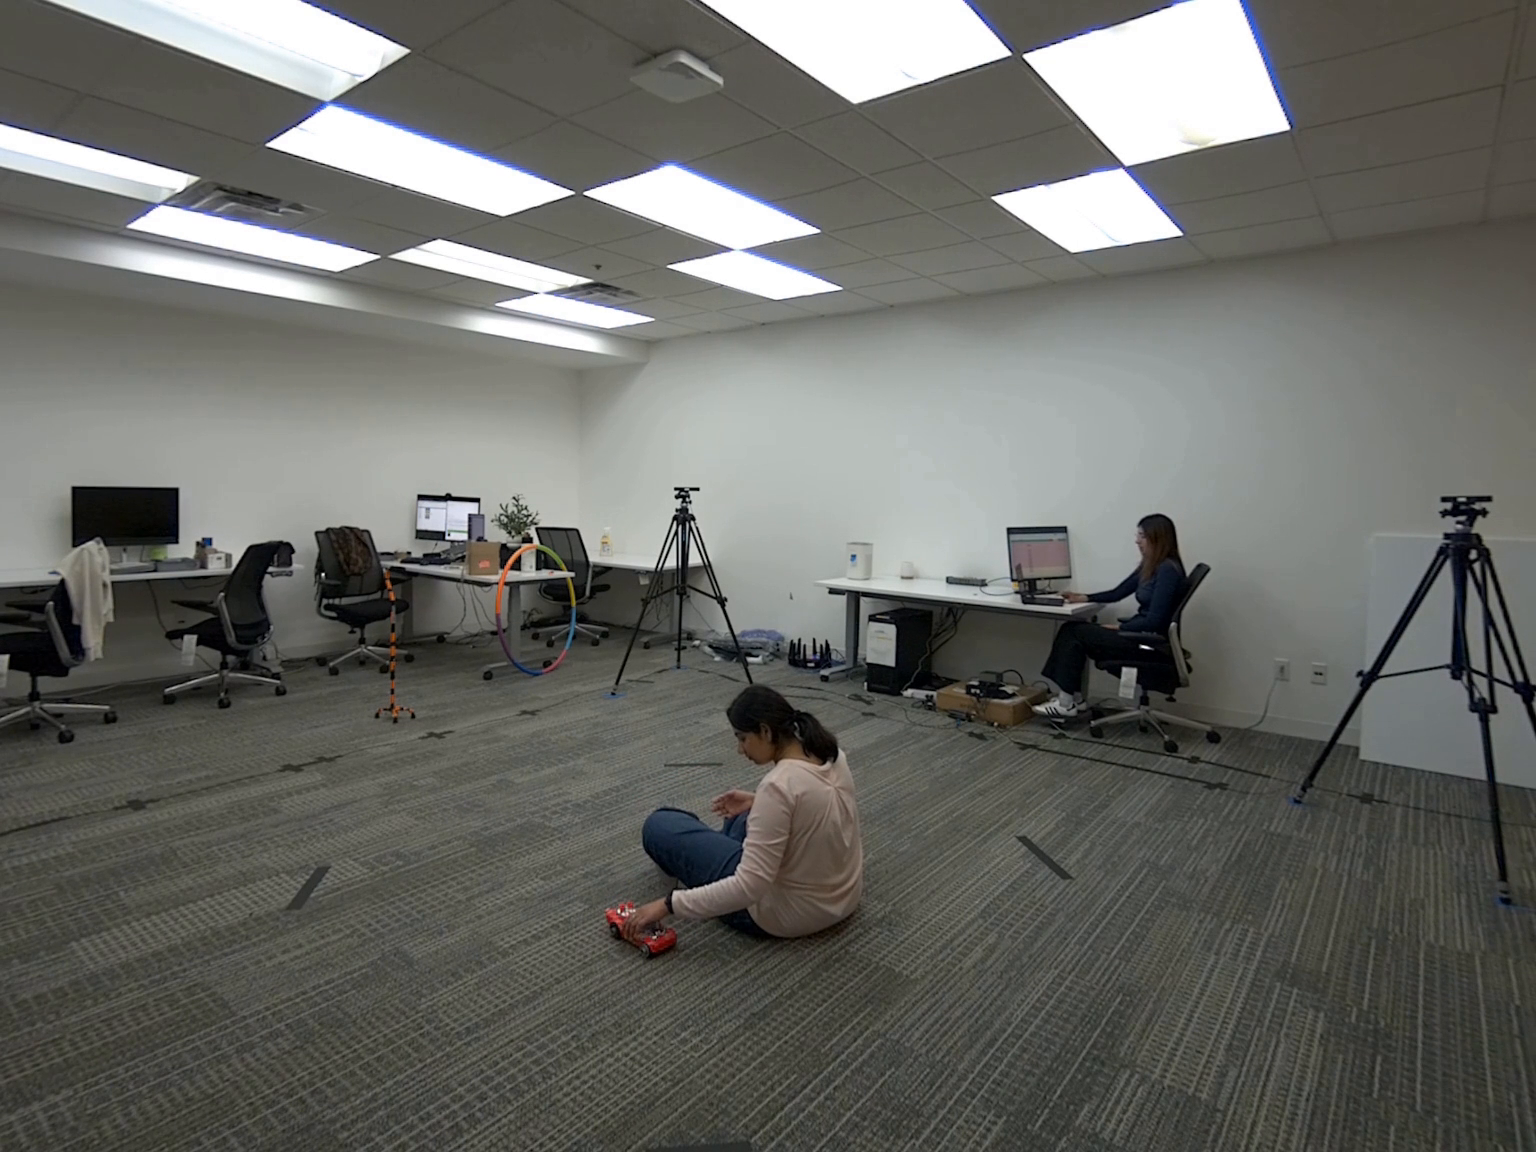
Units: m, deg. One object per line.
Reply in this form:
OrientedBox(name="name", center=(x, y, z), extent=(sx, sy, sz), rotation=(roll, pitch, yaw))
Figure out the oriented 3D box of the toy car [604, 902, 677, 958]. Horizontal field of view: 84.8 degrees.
OrientedBox(name="toy car", center=(-0.409, 1.079, 2.618), extent=(0.126, 0.082, 0.265), rotation=(-4, 18, -44))
